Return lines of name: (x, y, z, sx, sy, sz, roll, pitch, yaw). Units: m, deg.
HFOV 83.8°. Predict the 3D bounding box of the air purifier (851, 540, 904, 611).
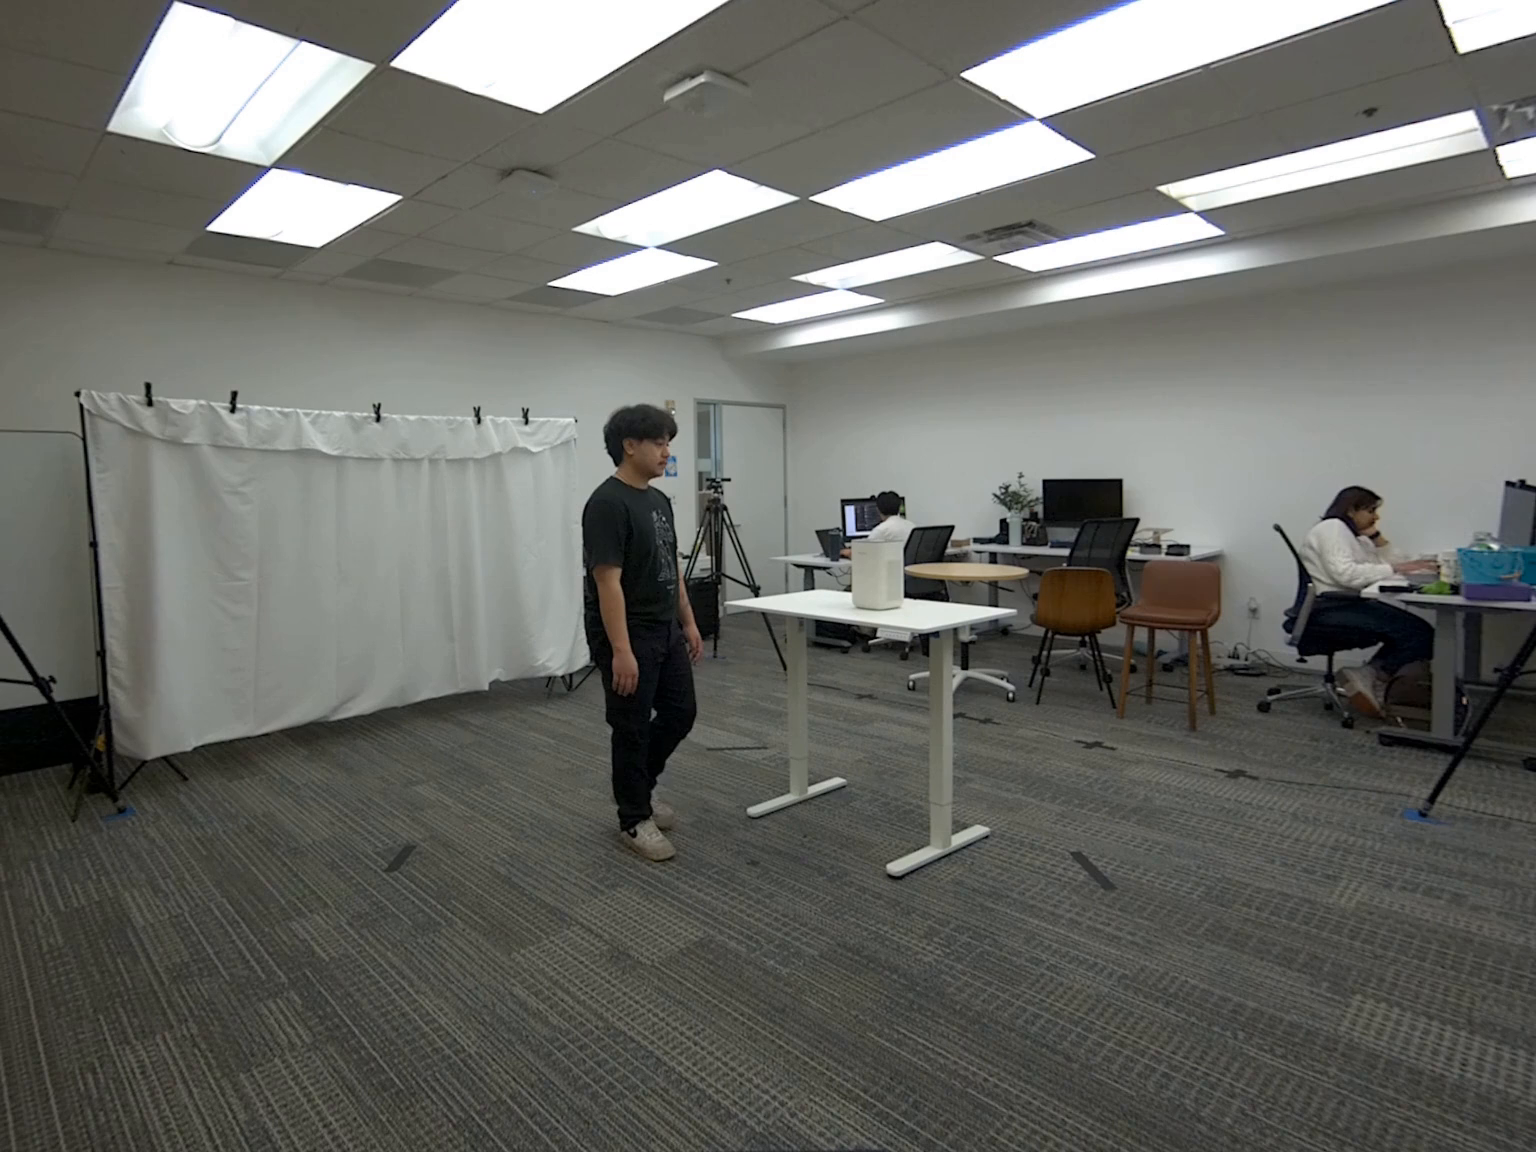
air purifier: (0.426, -0.005, 3.330, 0.167, 0.264, 0.176, -5, 5, -41)
